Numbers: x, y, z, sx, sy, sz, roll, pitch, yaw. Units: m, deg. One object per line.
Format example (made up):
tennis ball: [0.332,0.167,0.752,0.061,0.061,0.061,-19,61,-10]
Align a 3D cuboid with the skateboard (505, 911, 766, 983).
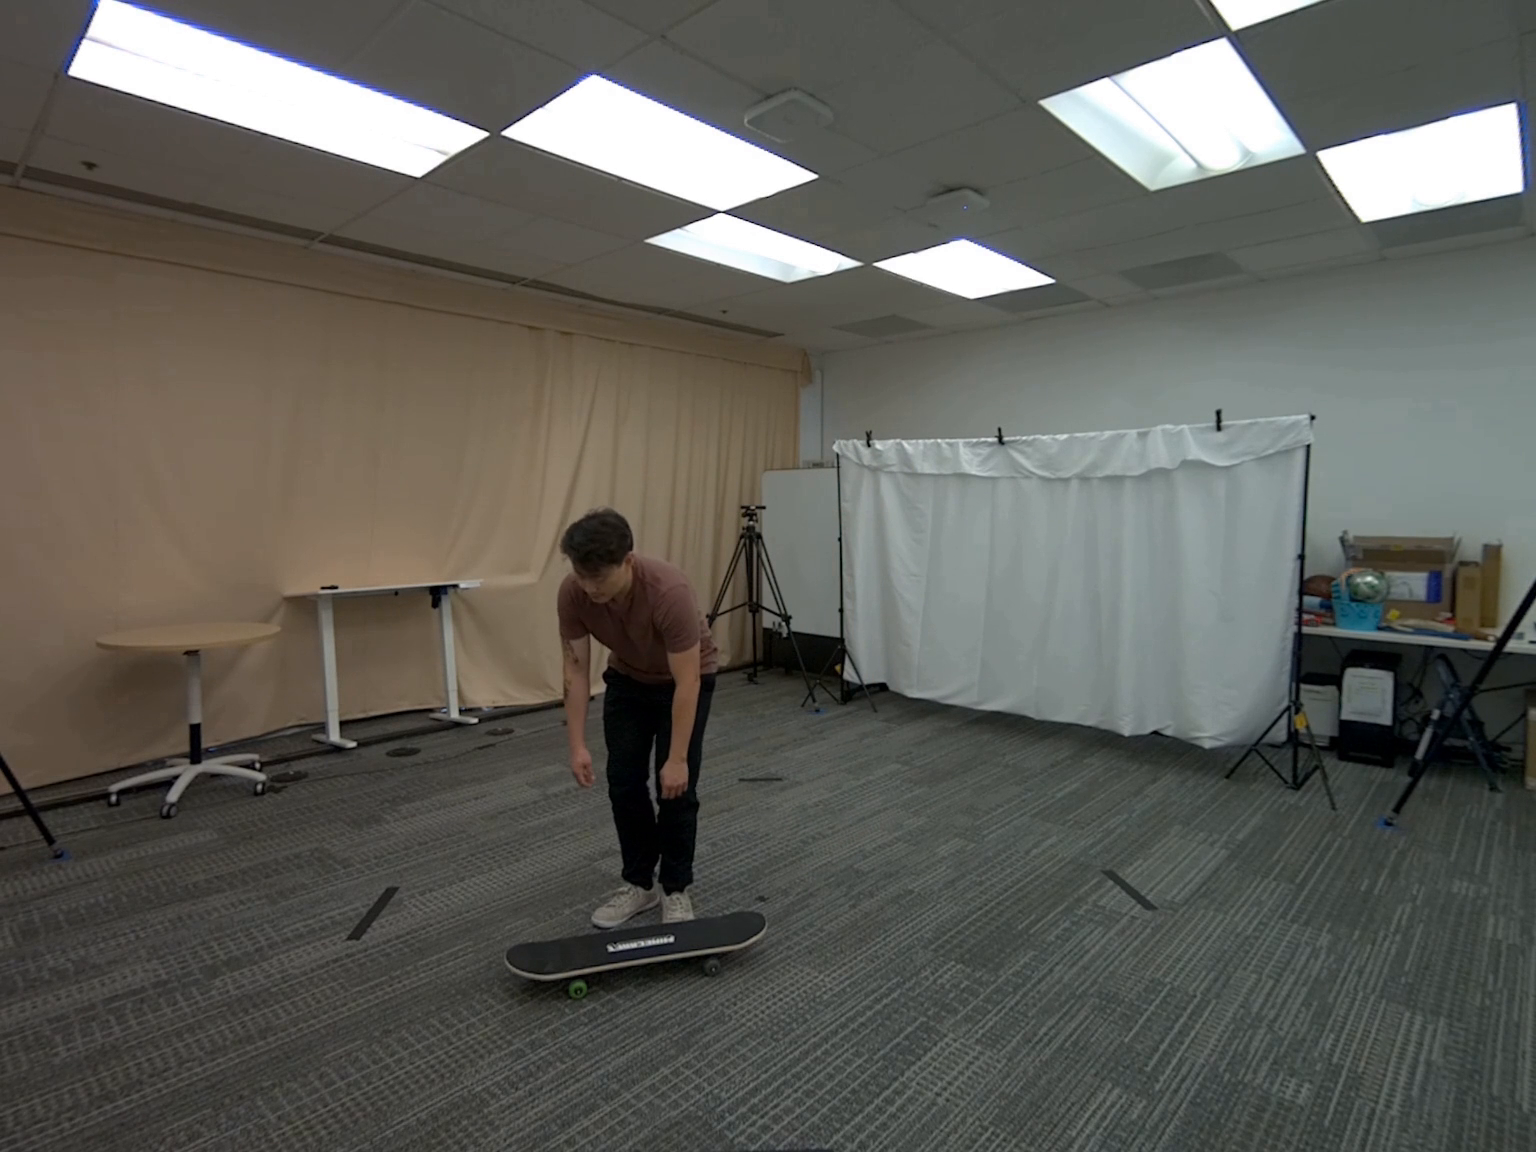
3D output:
skateboard: [-0.380,1.128,2.515,0.772,0.110,0.197,-2,5,-17]
